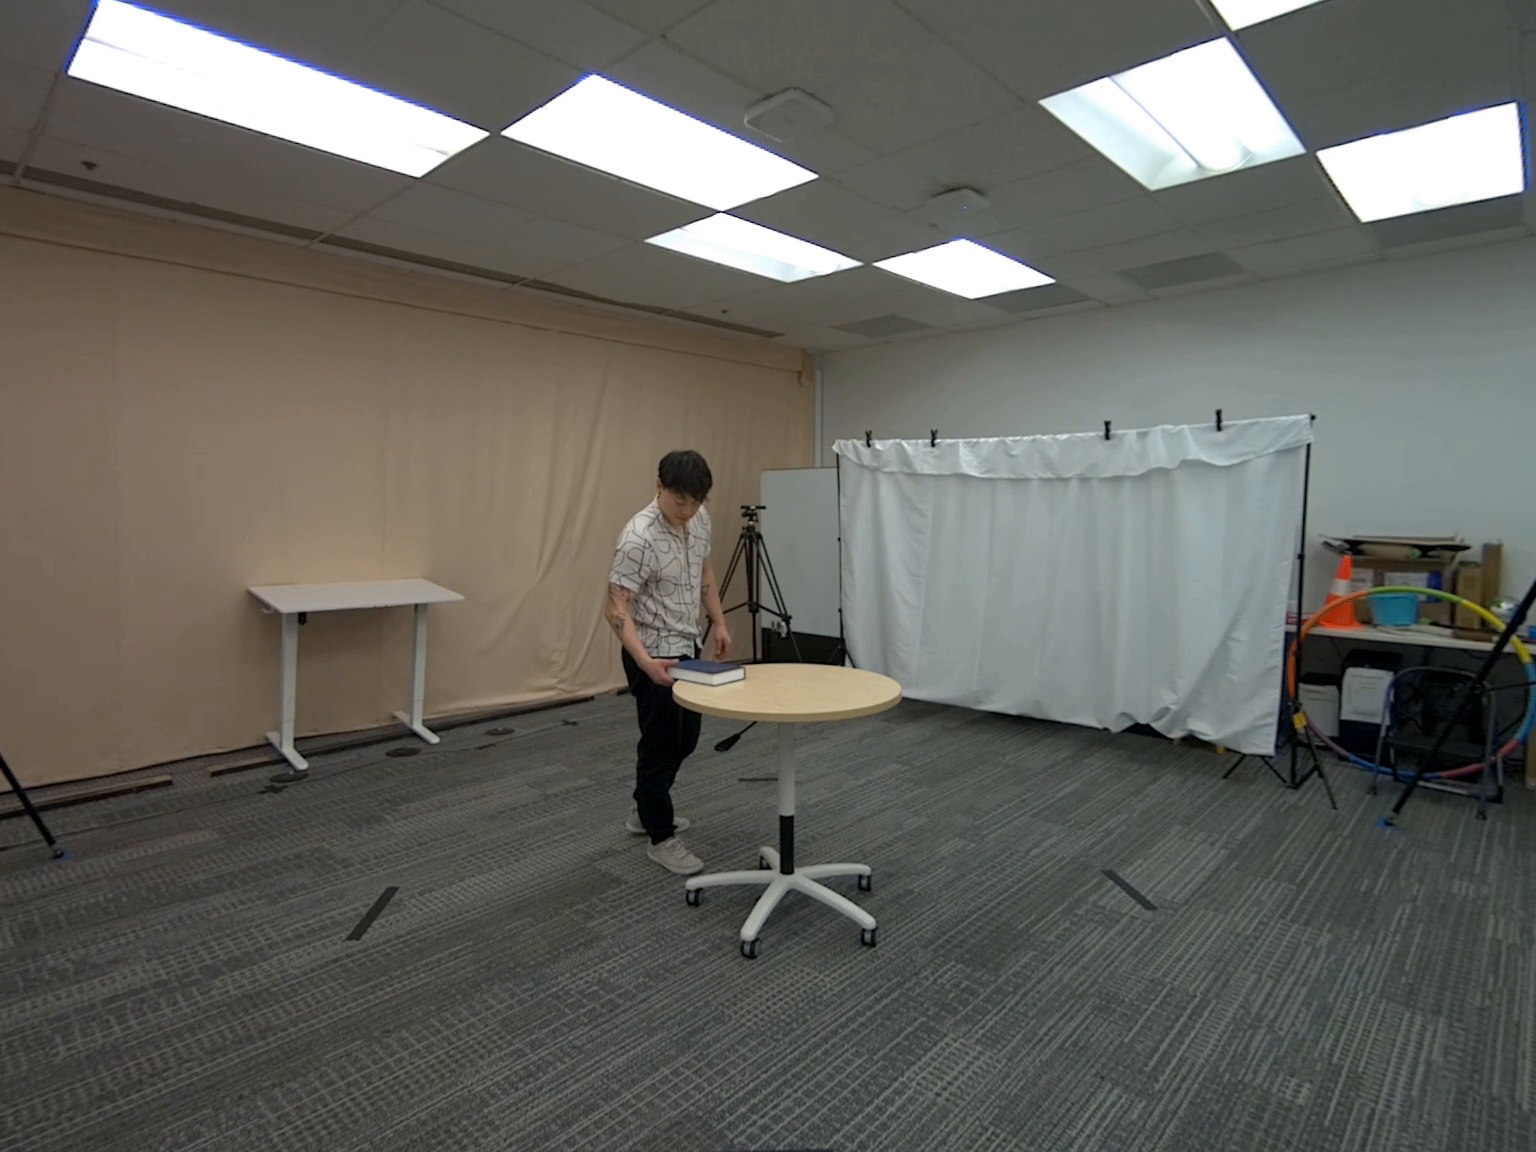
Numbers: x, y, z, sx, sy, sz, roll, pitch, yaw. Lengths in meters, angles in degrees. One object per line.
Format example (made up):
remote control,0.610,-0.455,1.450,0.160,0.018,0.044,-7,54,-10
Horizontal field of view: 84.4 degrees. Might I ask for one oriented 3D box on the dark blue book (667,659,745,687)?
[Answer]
dark blue book,-0.214,0.340,2.971,0.253,0.045,0.158,4,6,41
